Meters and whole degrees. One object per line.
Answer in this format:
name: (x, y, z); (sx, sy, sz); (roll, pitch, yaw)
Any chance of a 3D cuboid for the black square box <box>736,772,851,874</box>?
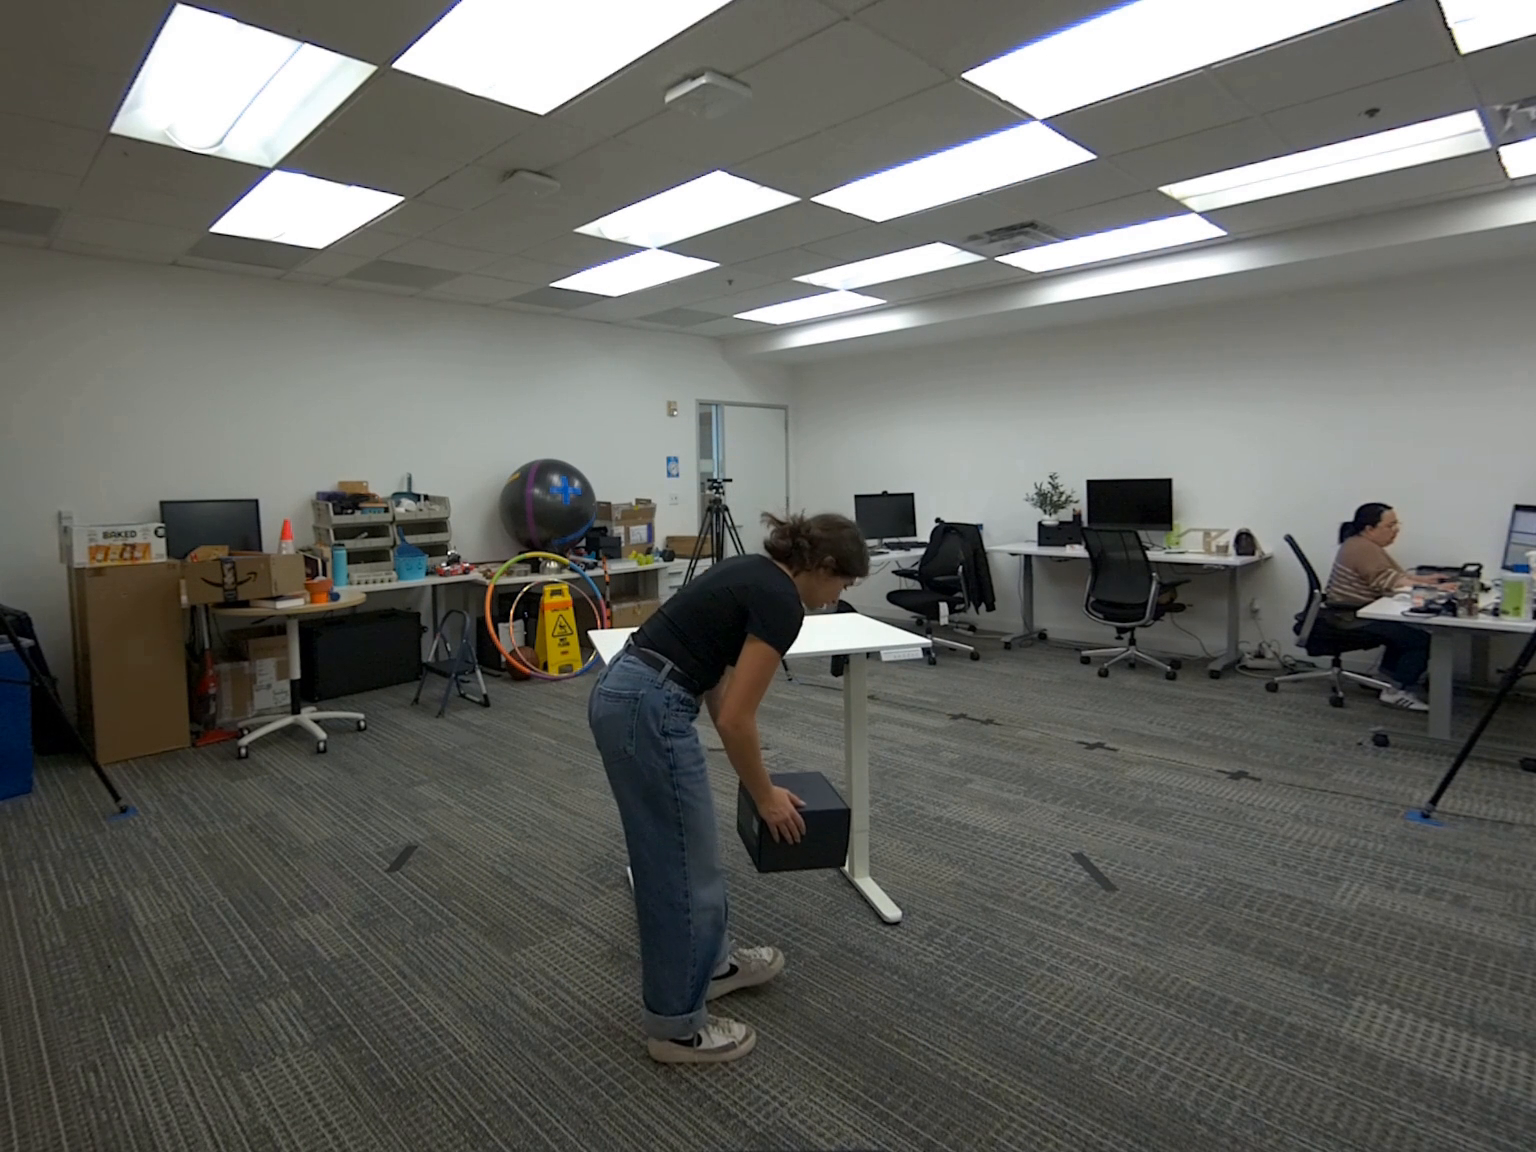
black square box: (0.061, 0.619, 2.165); (0.224, 0.155, 0.222); (0, 10, -16)
